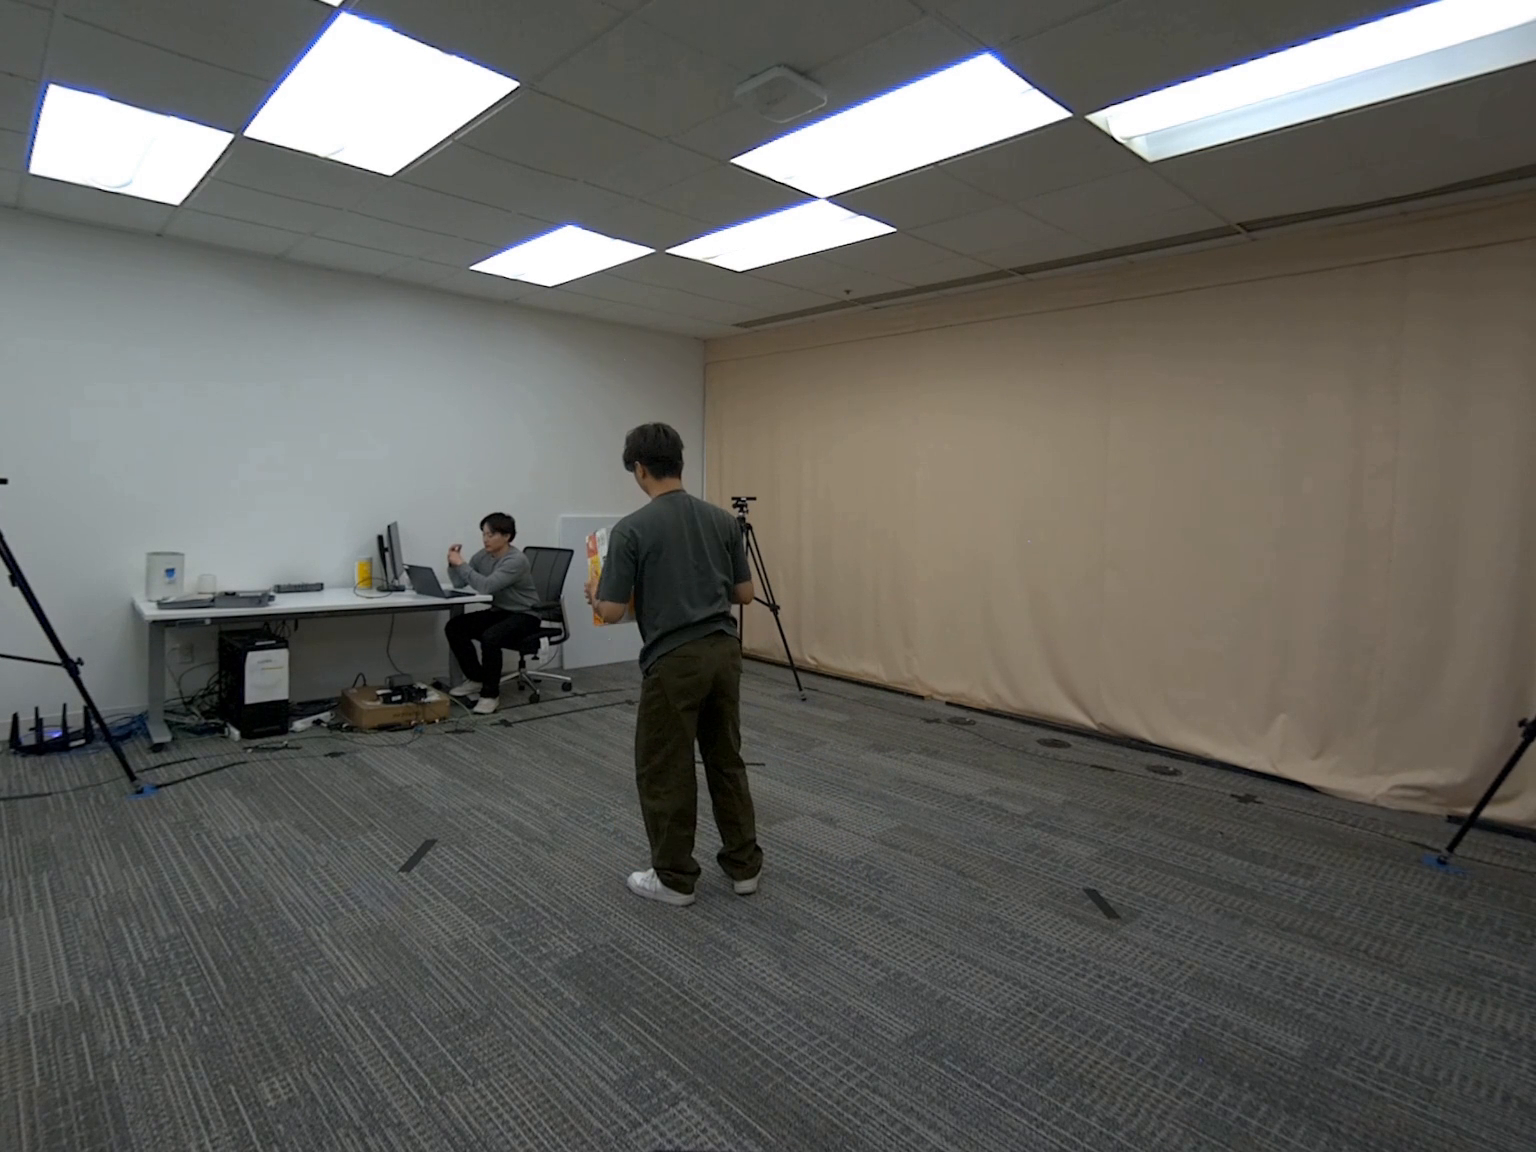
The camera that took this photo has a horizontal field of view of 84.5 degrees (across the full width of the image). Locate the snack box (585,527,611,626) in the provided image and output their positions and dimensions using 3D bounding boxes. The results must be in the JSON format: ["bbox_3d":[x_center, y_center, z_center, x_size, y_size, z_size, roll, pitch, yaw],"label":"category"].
[{"bbox_3d":[-0.434,0.005,3.132,0.397,0.342,0.208,-3,-8,-30],"label":"snack box"}]
